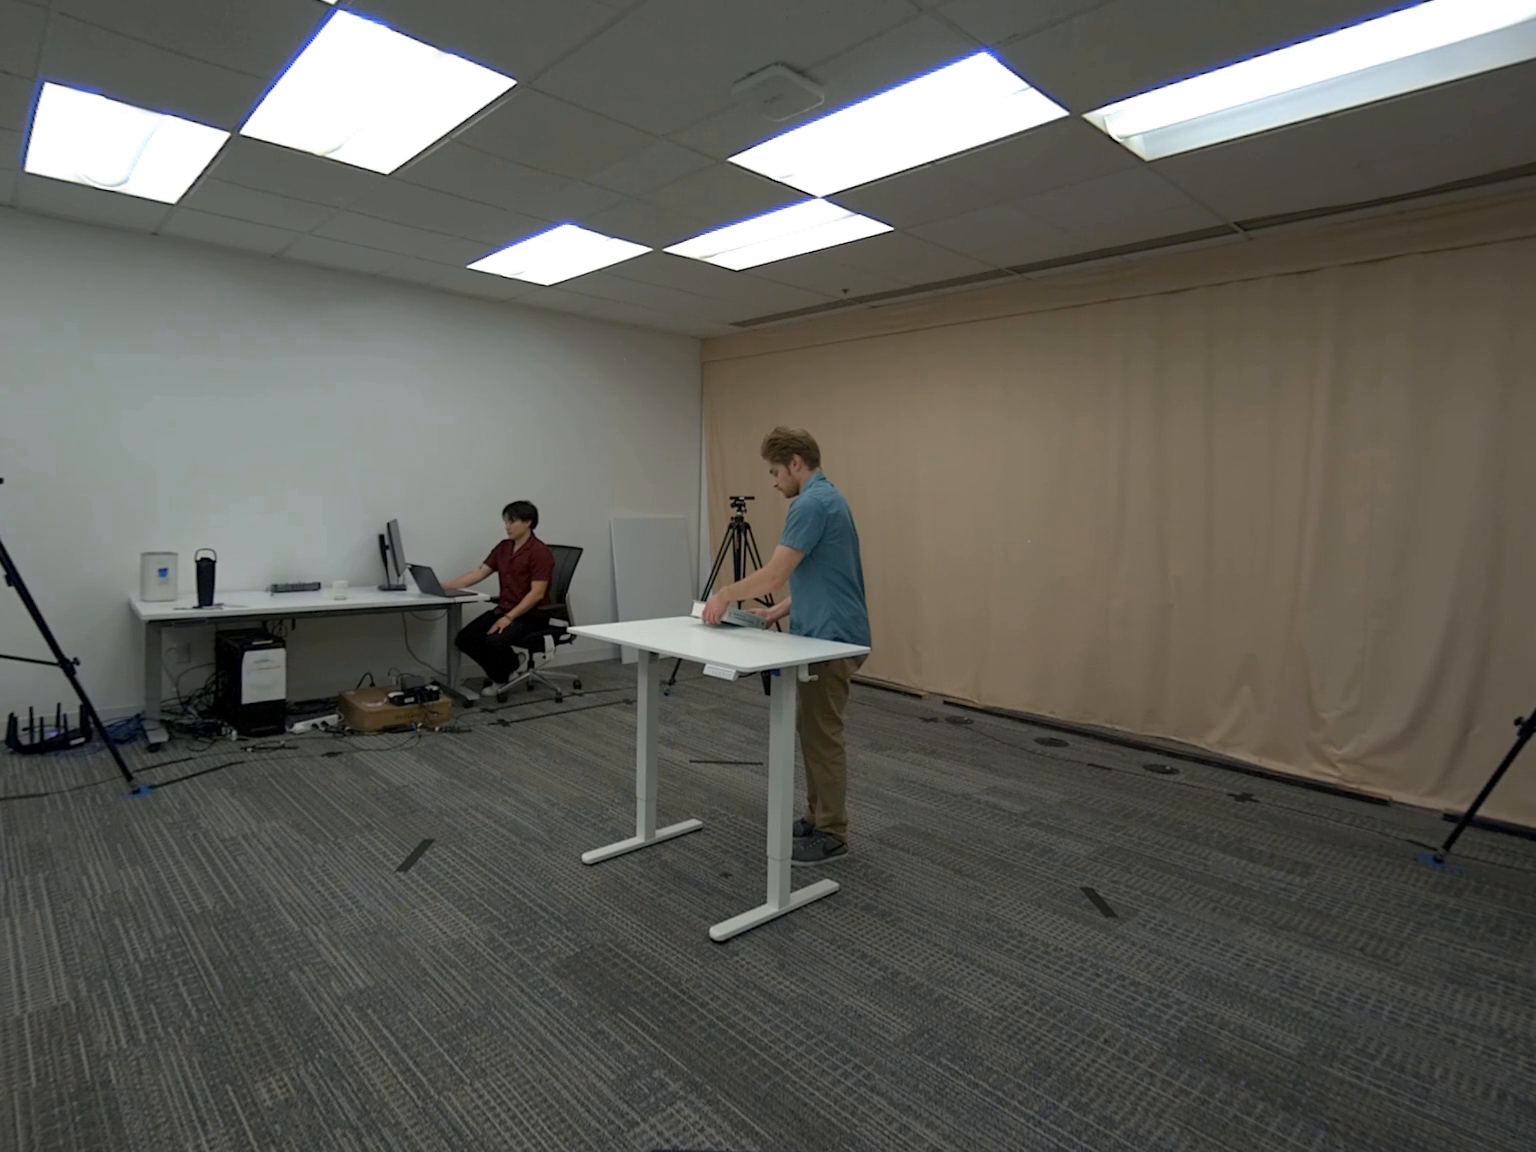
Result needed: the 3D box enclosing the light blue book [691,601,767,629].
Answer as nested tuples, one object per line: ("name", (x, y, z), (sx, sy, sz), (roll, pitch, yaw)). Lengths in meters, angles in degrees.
("light blue book", (-0.159, 0.163, 3.420), (0.196, 0.059, 0.253), (7, -8, 39))
